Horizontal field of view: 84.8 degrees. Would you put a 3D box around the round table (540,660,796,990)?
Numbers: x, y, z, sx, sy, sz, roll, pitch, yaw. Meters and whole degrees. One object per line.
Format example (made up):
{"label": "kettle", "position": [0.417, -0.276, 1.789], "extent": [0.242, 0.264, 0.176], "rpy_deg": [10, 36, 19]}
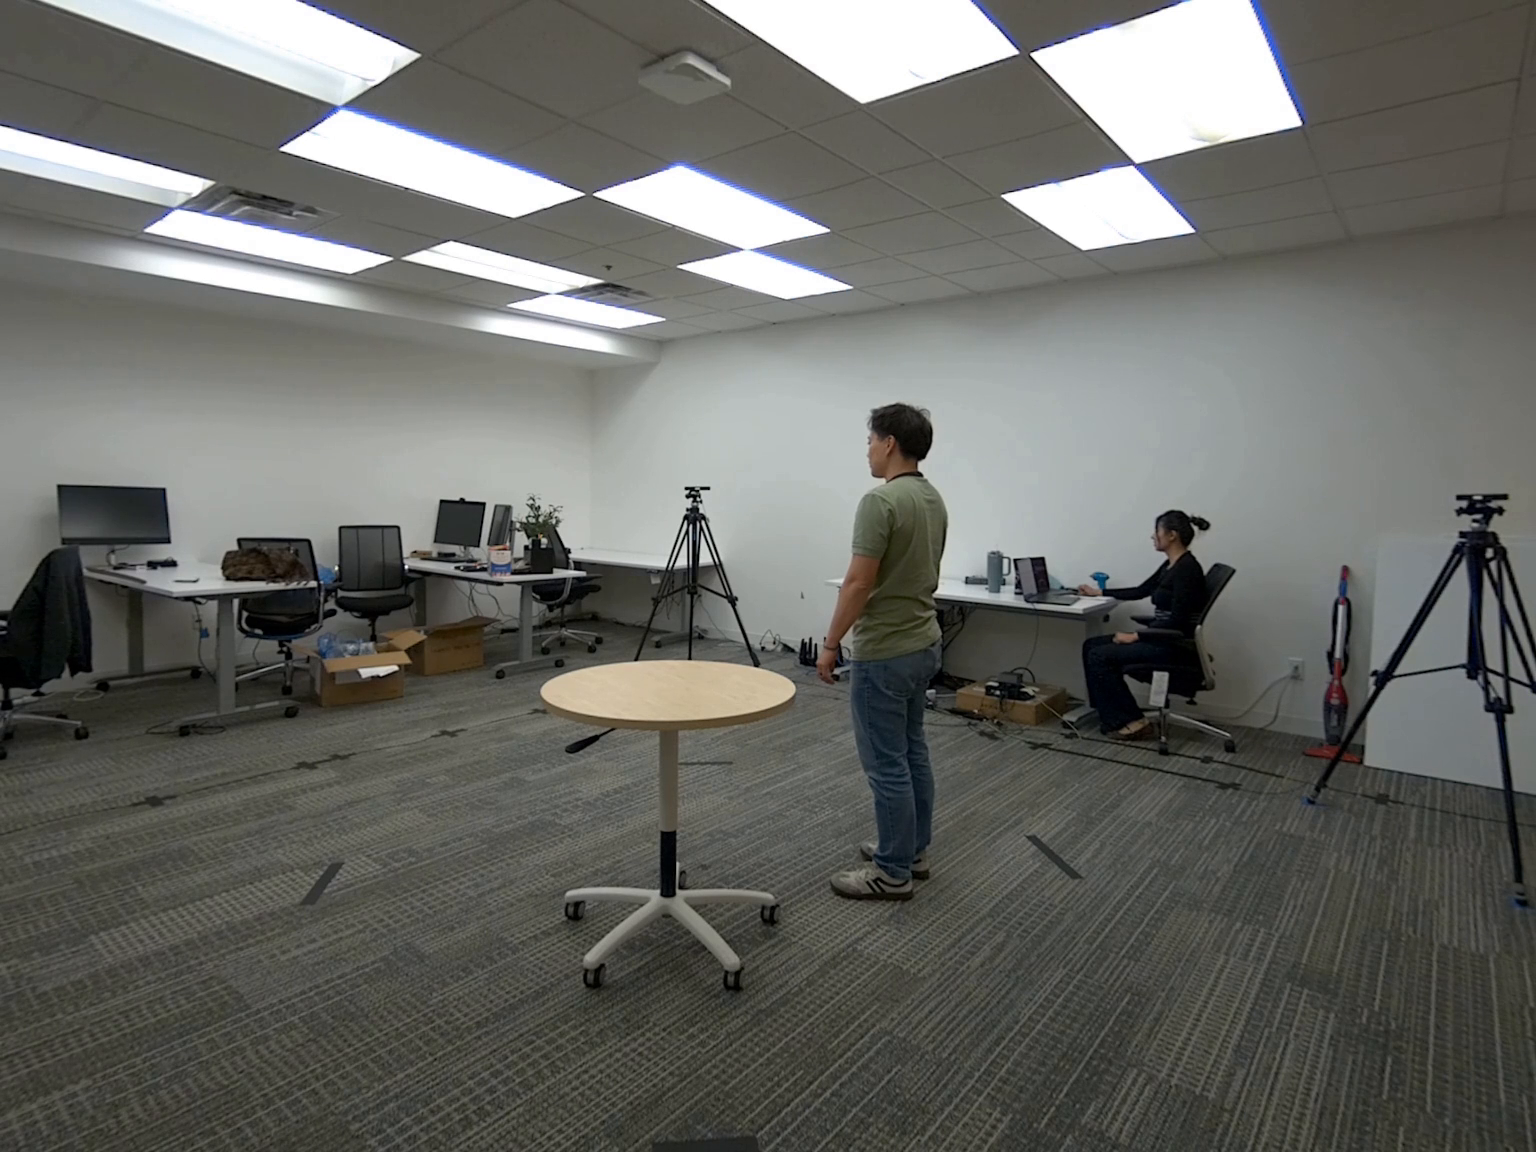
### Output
{"label": "round table", "position": [-0.315, 0.726, 2.594], "extent": [0.763, 0.791, 0.768], "rpy_deg": [0, 5, -2]}
